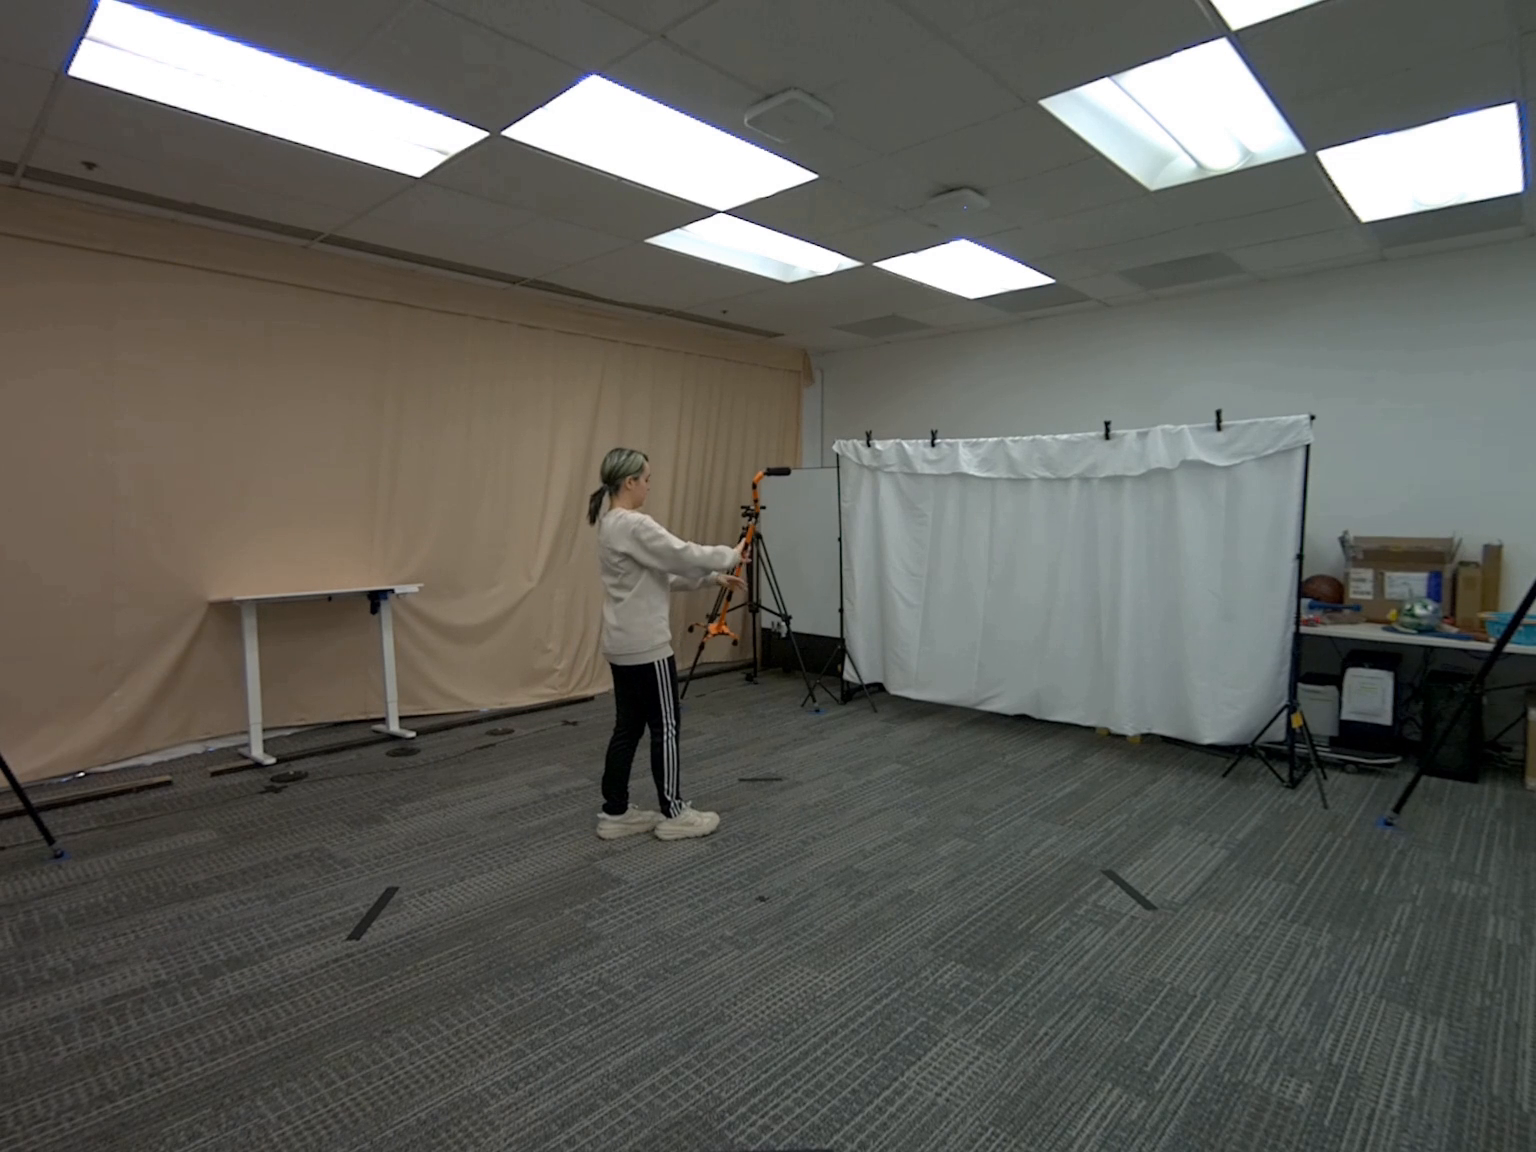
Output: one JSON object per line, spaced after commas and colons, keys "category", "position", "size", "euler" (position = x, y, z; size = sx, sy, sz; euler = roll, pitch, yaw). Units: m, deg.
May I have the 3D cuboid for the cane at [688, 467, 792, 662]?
{"category": "cane", "position": [-0.125, -0.076, 3.645], "size": [0.201, 0.902, 0.157], "euler": [-3, 37, -34]}
